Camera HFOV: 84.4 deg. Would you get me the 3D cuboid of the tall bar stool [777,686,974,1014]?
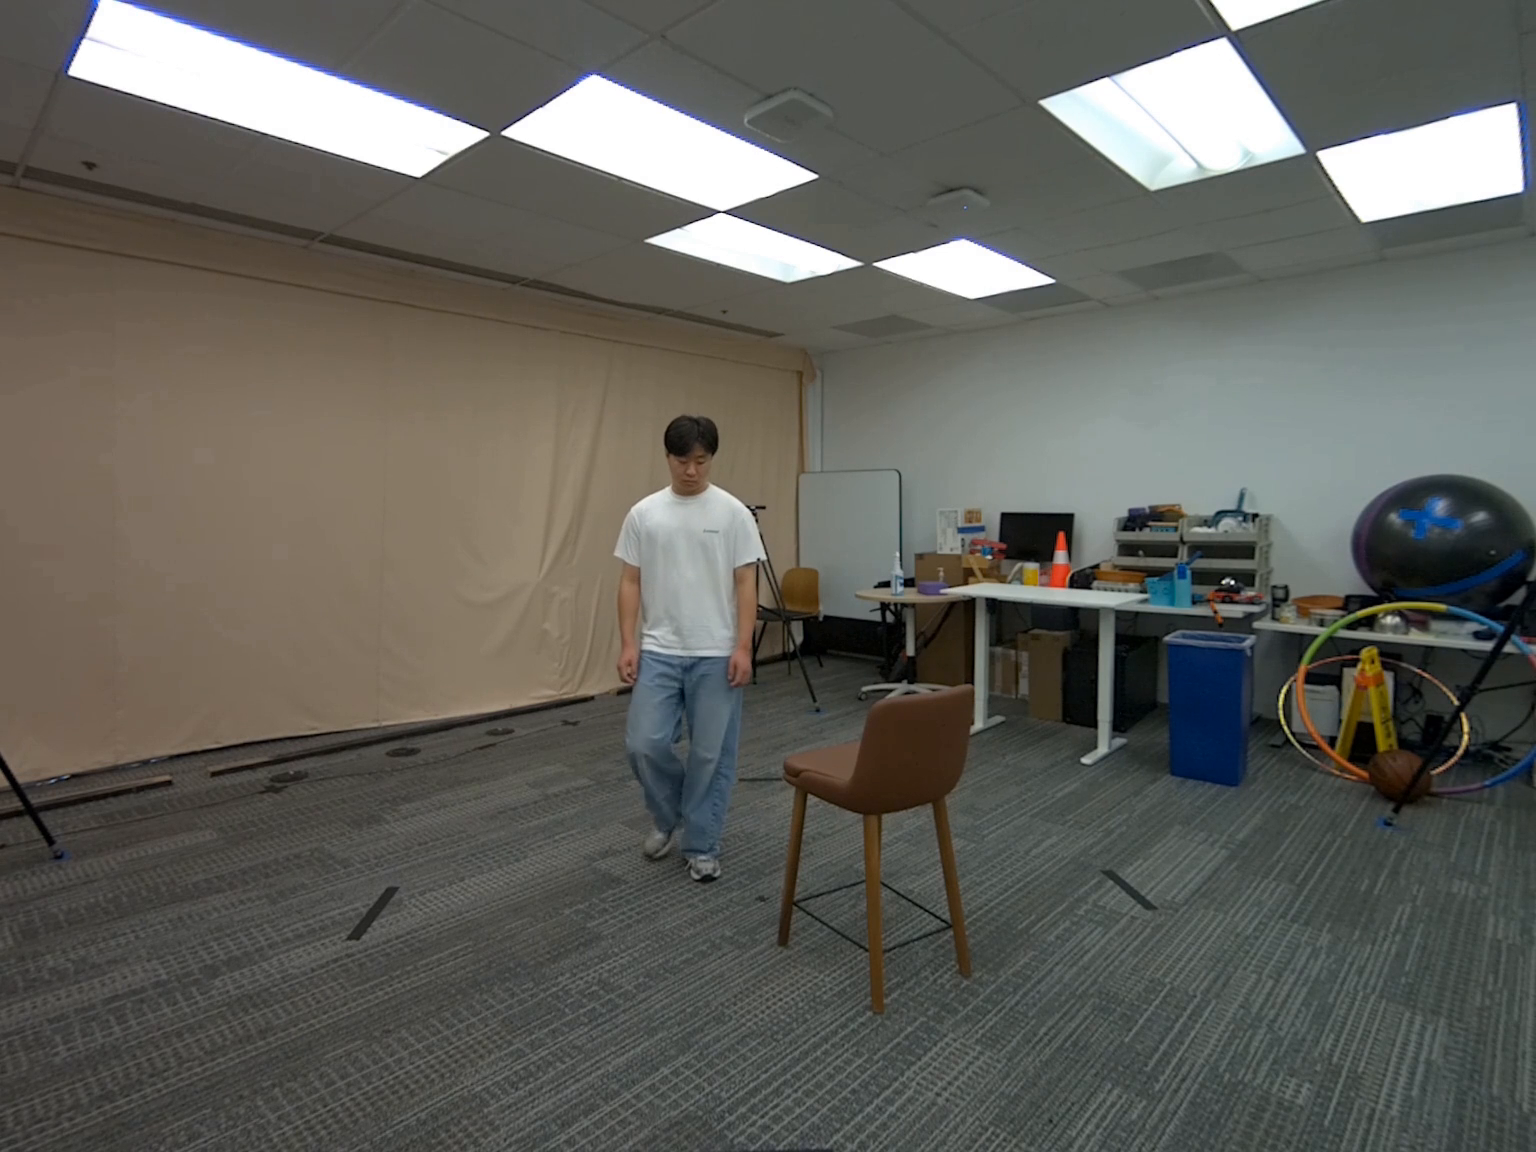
[{"bbox_3d":[0.332,0.742,2.560,0.443,0.887,0.482,-2,6,-34],"label":"tall bar stool"}]
